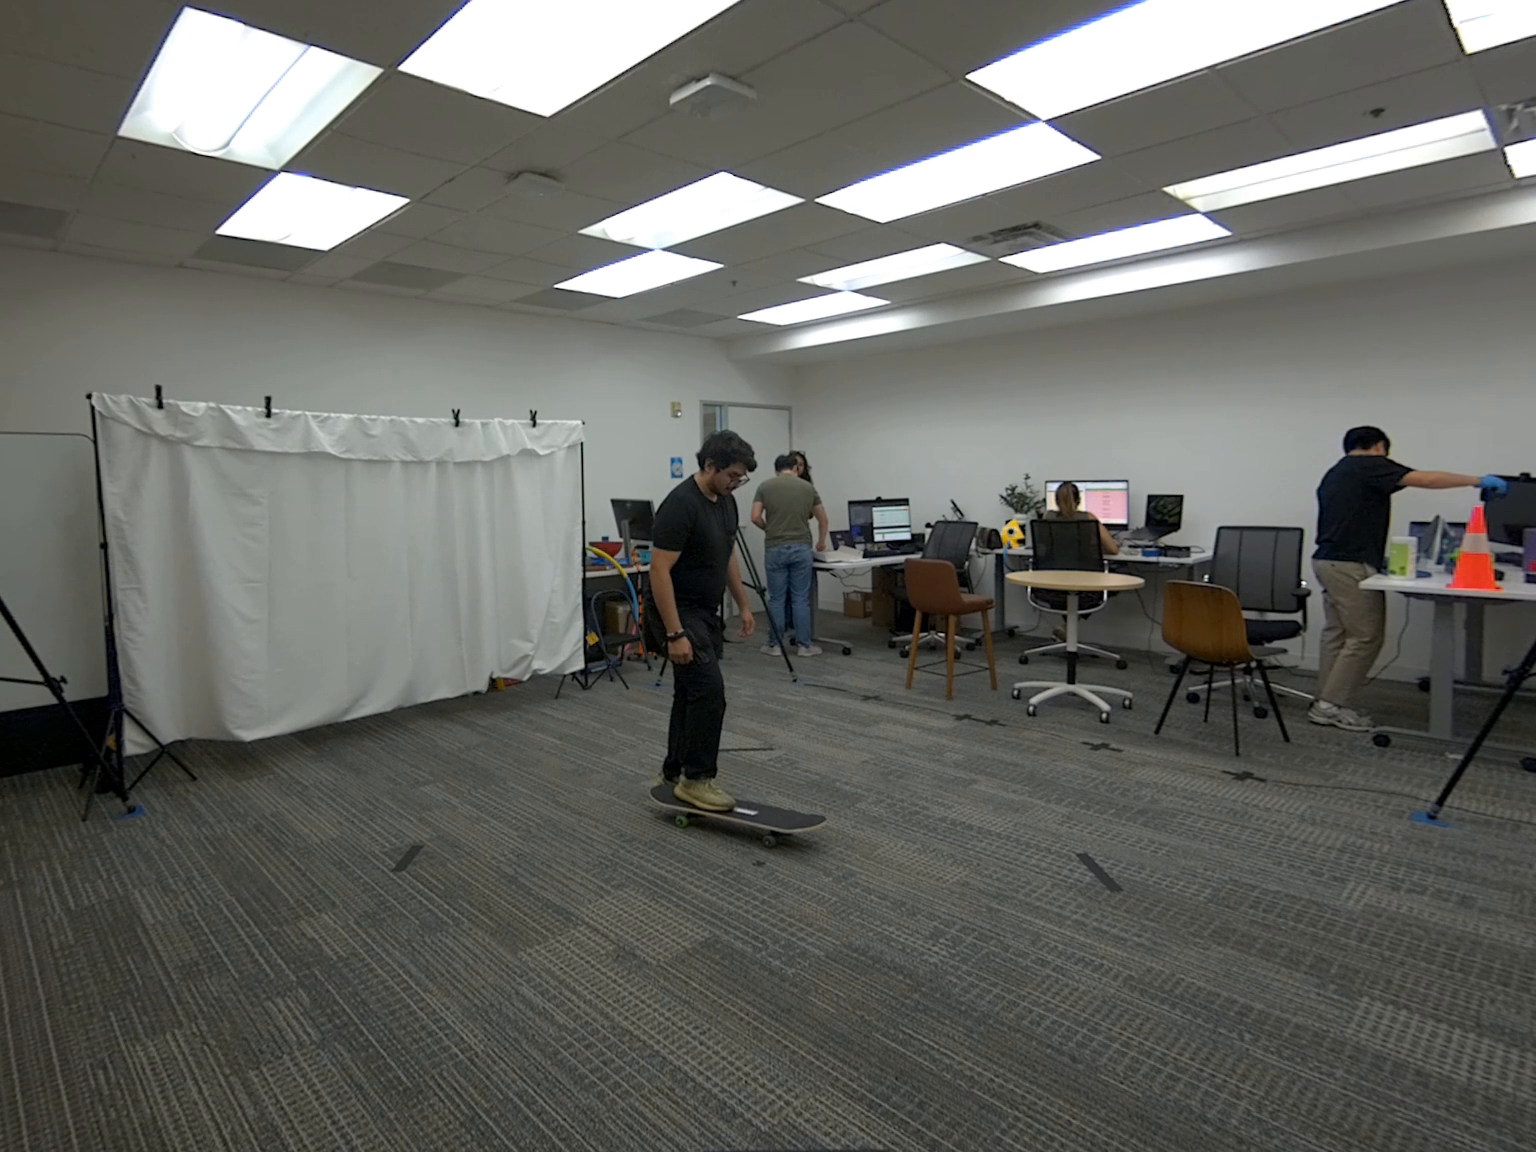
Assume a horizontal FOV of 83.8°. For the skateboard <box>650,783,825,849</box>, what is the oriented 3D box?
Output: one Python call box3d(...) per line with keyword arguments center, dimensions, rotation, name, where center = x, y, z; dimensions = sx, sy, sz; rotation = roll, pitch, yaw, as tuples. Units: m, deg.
box3d(center=(-0.131, 0.965, 3.417), dimensions=(0.806, 0.110, 0.189), rotation=(2, 6, 30), name="skateboard")
